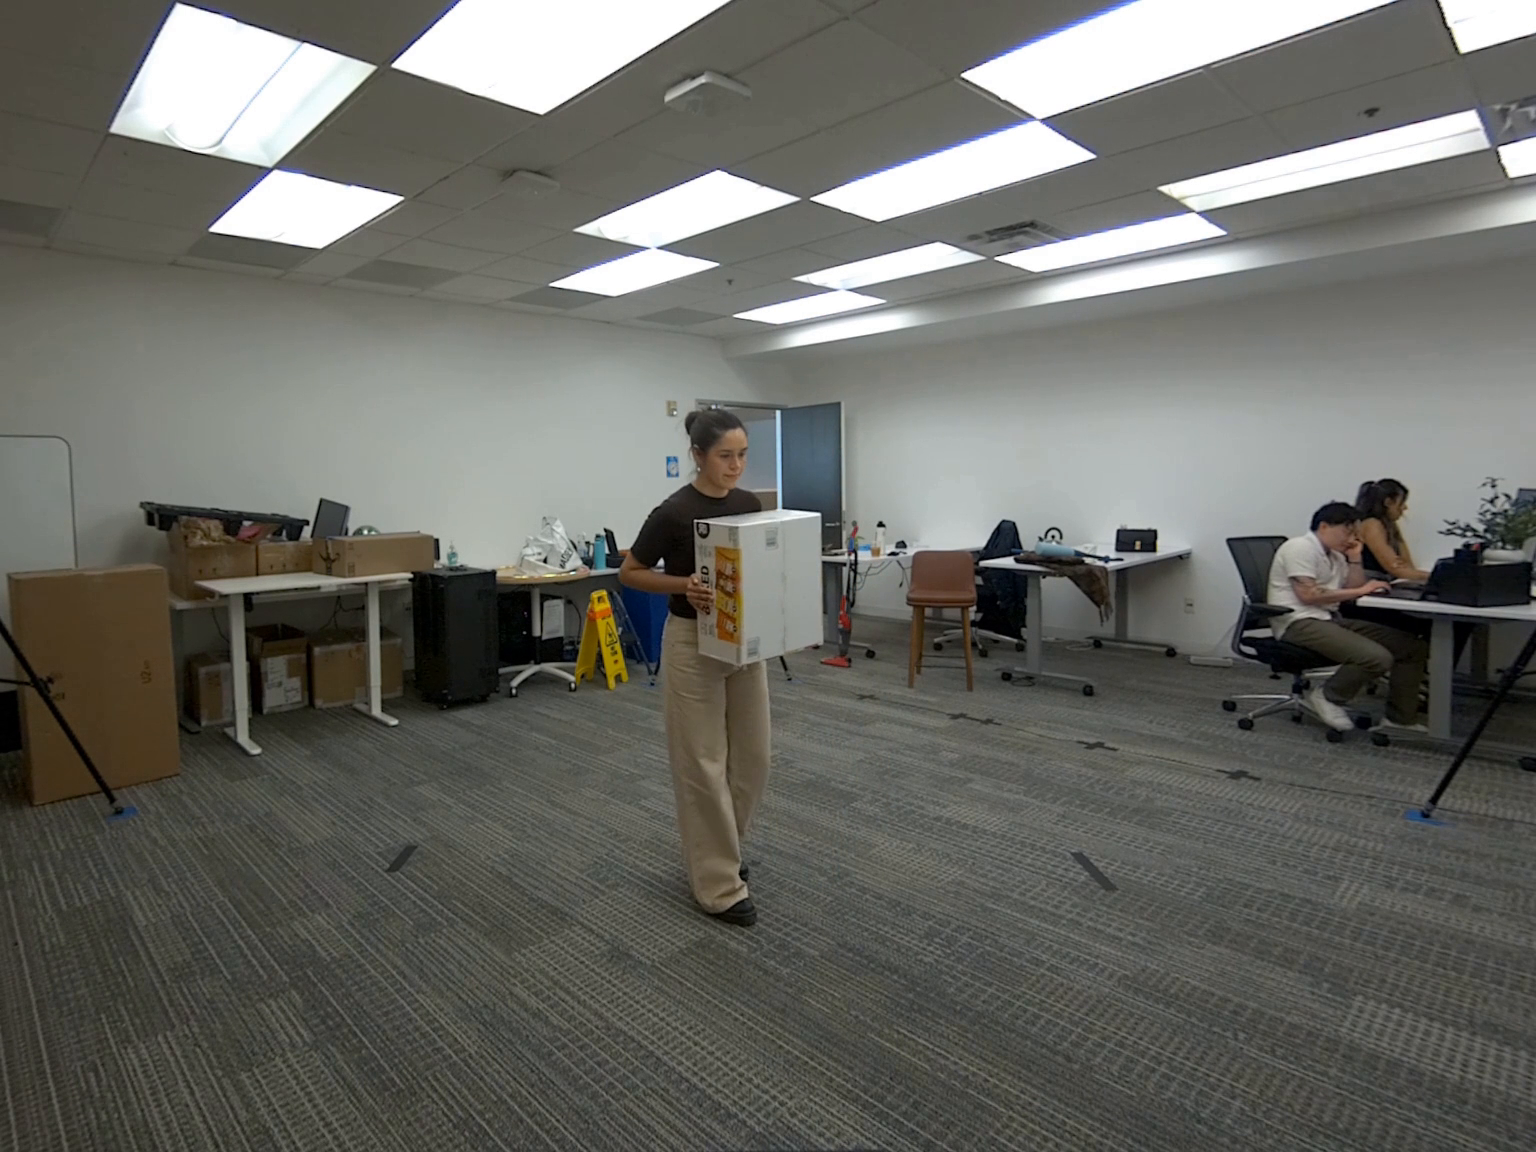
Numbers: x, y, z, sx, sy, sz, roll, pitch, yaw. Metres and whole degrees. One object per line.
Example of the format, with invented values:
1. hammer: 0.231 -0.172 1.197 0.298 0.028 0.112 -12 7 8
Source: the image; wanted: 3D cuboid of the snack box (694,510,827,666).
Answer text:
1. snack box: -0.021 0.024 2.583 0.332 0.402 0.212 -8 11 -40
